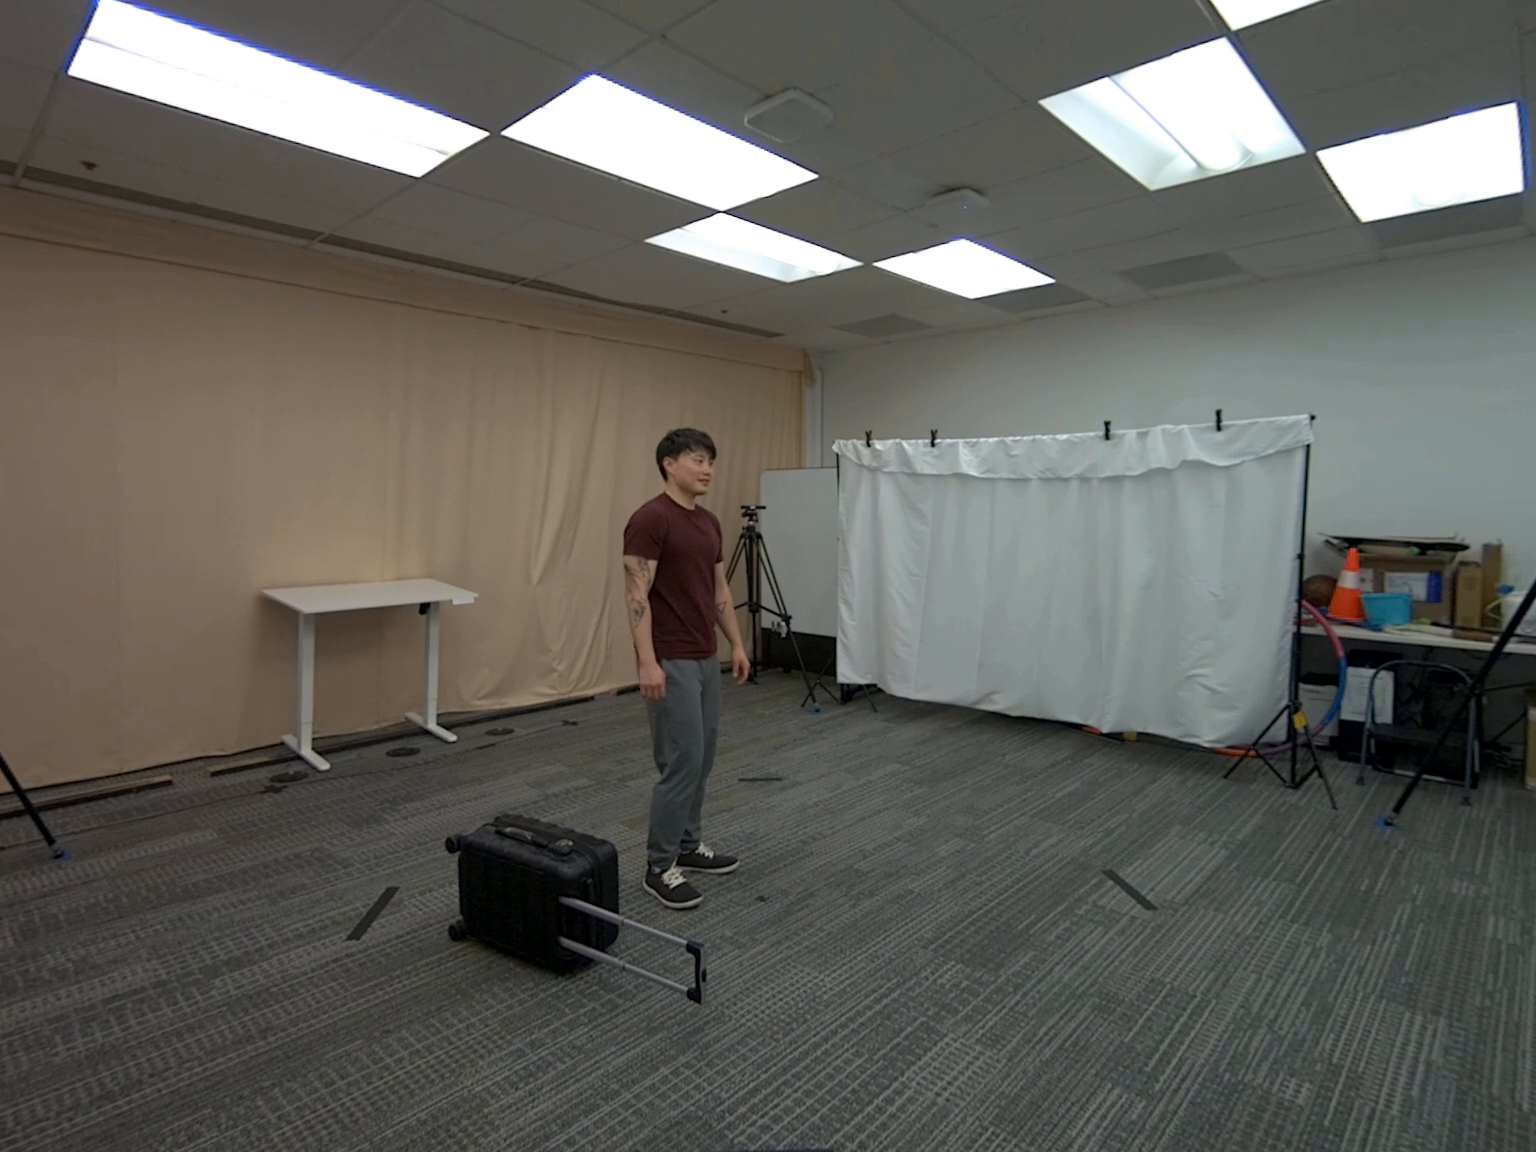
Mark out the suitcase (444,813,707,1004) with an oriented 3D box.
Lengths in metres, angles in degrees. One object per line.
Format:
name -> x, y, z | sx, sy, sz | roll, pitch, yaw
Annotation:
suitcase -> -0.551, 0.997, 2.549 | 1.007, 0.383, 0.250 | 3, 6, 30
